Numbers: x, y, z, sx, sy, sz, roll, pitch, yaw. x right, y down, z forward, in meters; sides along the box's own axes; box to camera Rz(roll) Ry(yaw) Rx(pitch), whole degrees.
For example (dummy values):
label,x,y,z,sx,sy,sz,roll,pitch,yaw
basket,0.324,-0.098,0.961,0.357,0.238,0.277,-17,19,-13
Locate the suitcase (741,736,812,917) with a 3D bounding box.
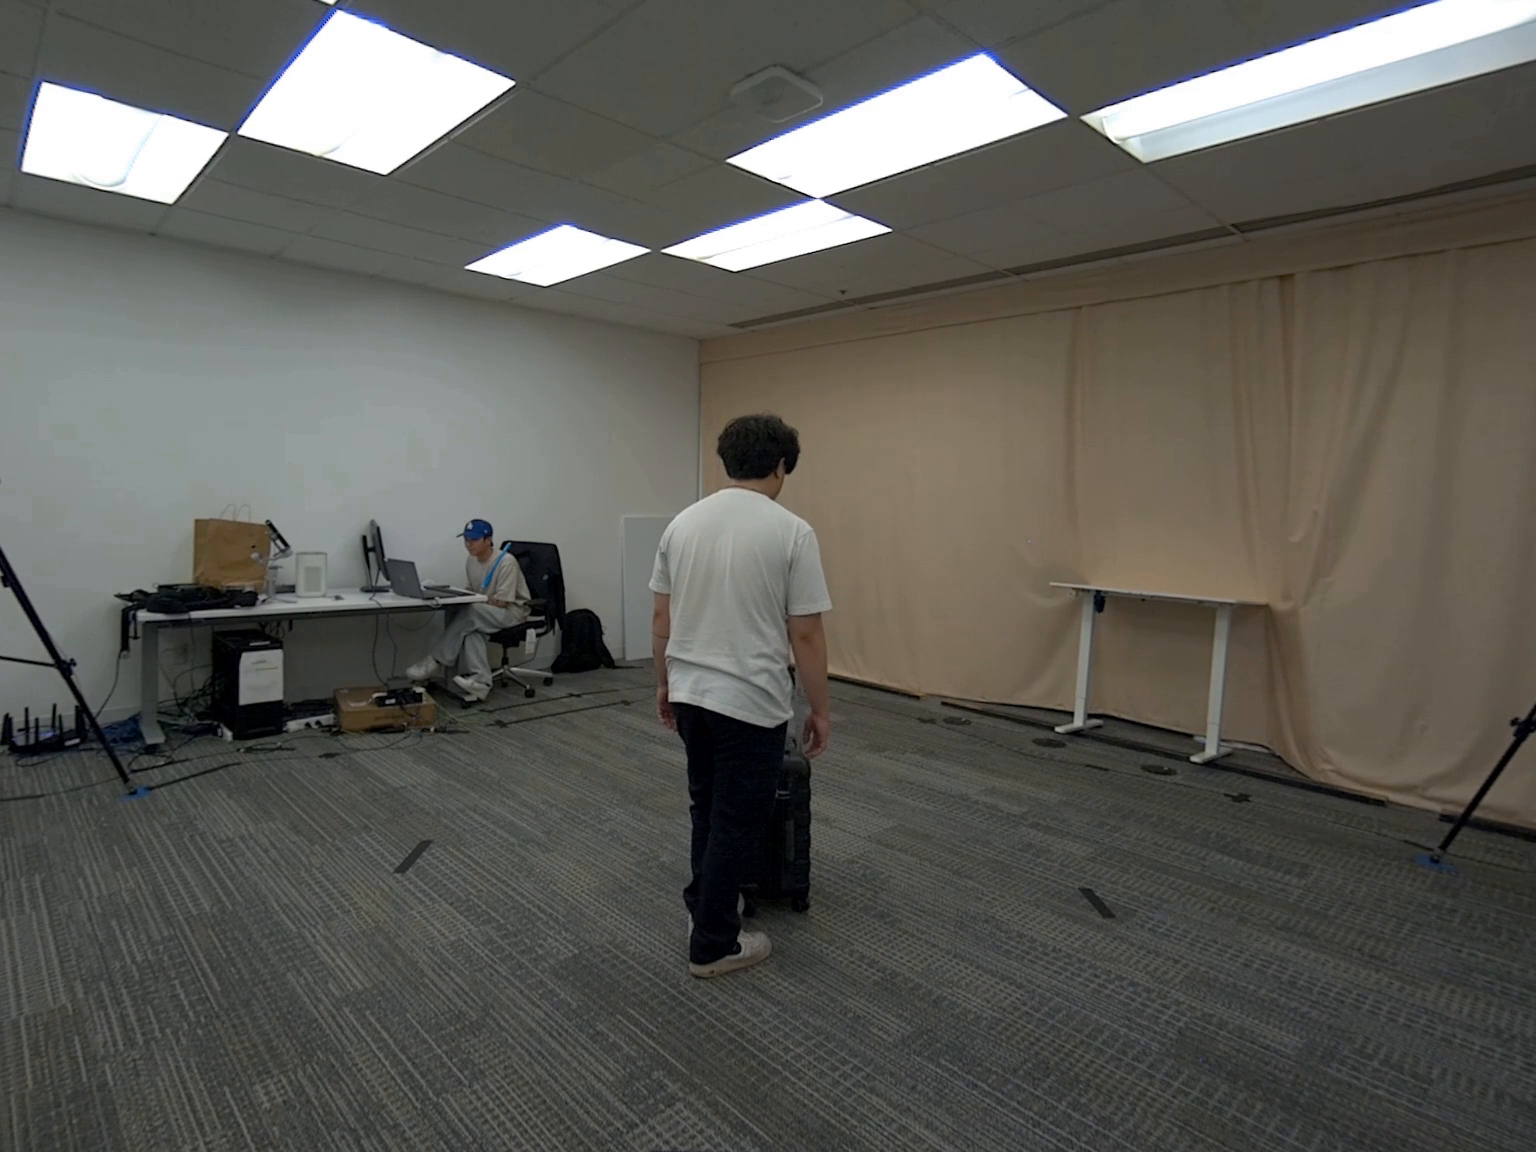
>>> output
label,x,y,z,sx,sy,sz,roll,pitch,yaw
suitcase,0.003,0.649,2.949,0.256,0.976,0.386,-2,3,-4
